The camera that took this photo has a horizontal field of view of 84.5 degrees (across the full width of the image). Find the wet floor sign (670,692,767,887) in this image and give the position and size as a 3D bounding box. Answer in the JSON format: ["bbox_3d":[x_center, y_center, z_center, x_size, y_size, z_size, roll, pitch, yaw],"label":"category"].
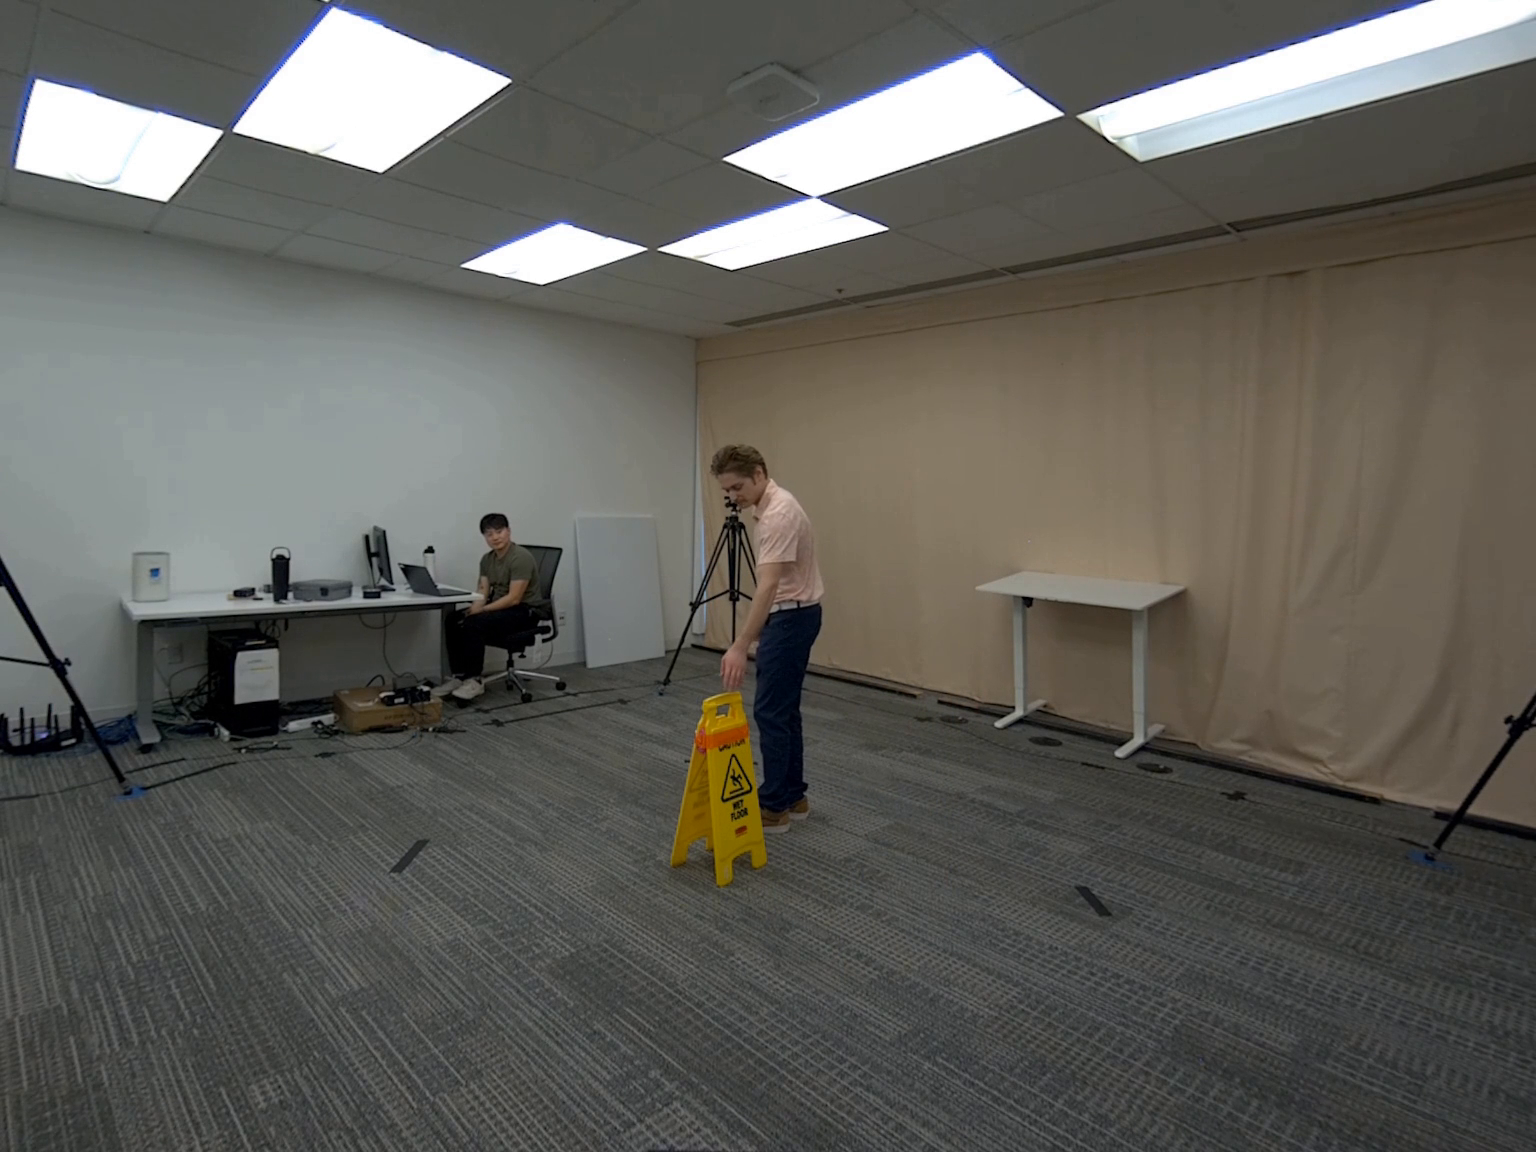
[{"bbox_3d":[-0.182,0.772,3.164,0.297,0.644,0.276,5,5,38],"label":"wet floor sign"}]
